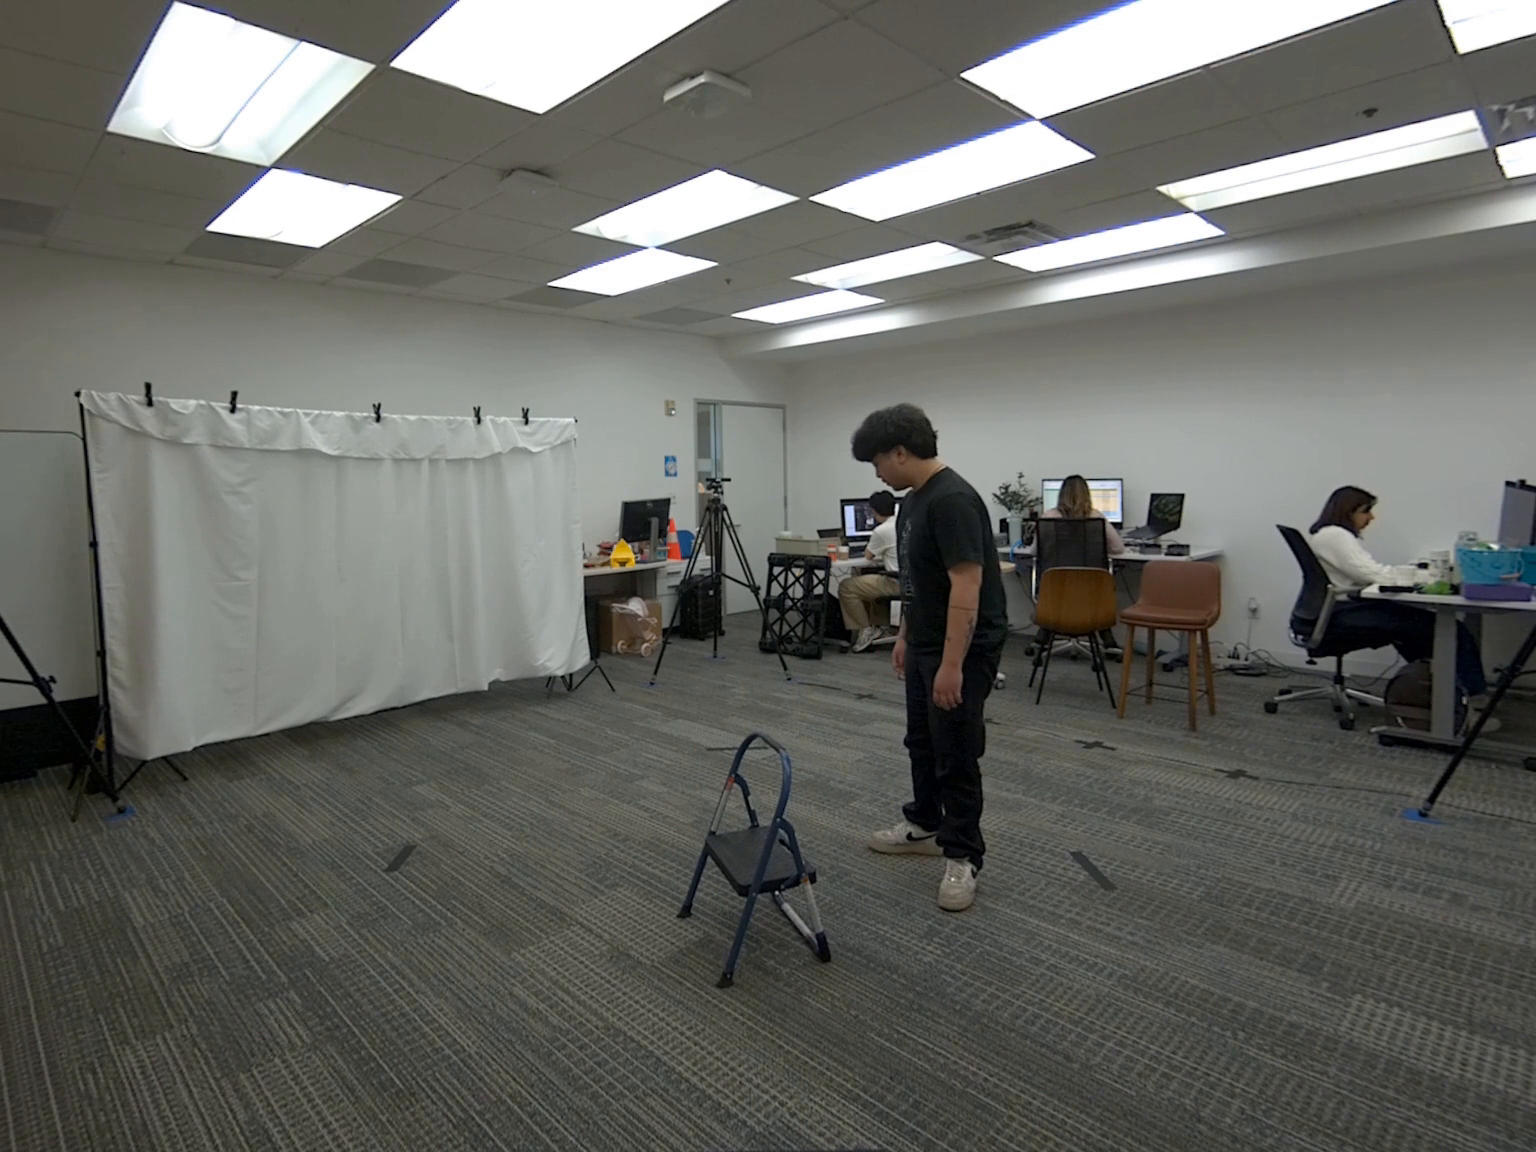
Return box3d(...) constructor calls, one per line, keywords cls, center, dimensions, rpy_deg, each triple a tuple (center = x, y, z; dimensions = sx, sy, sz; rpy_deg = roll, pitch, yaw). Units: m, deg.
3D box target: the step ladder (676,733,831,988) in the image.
box3d(cls="step ladder", center=(-0.049, 0.799, 2.581), dimensions=(0.343, 0.603, 0.440), rpy_deg=(-3, 6, -21))
